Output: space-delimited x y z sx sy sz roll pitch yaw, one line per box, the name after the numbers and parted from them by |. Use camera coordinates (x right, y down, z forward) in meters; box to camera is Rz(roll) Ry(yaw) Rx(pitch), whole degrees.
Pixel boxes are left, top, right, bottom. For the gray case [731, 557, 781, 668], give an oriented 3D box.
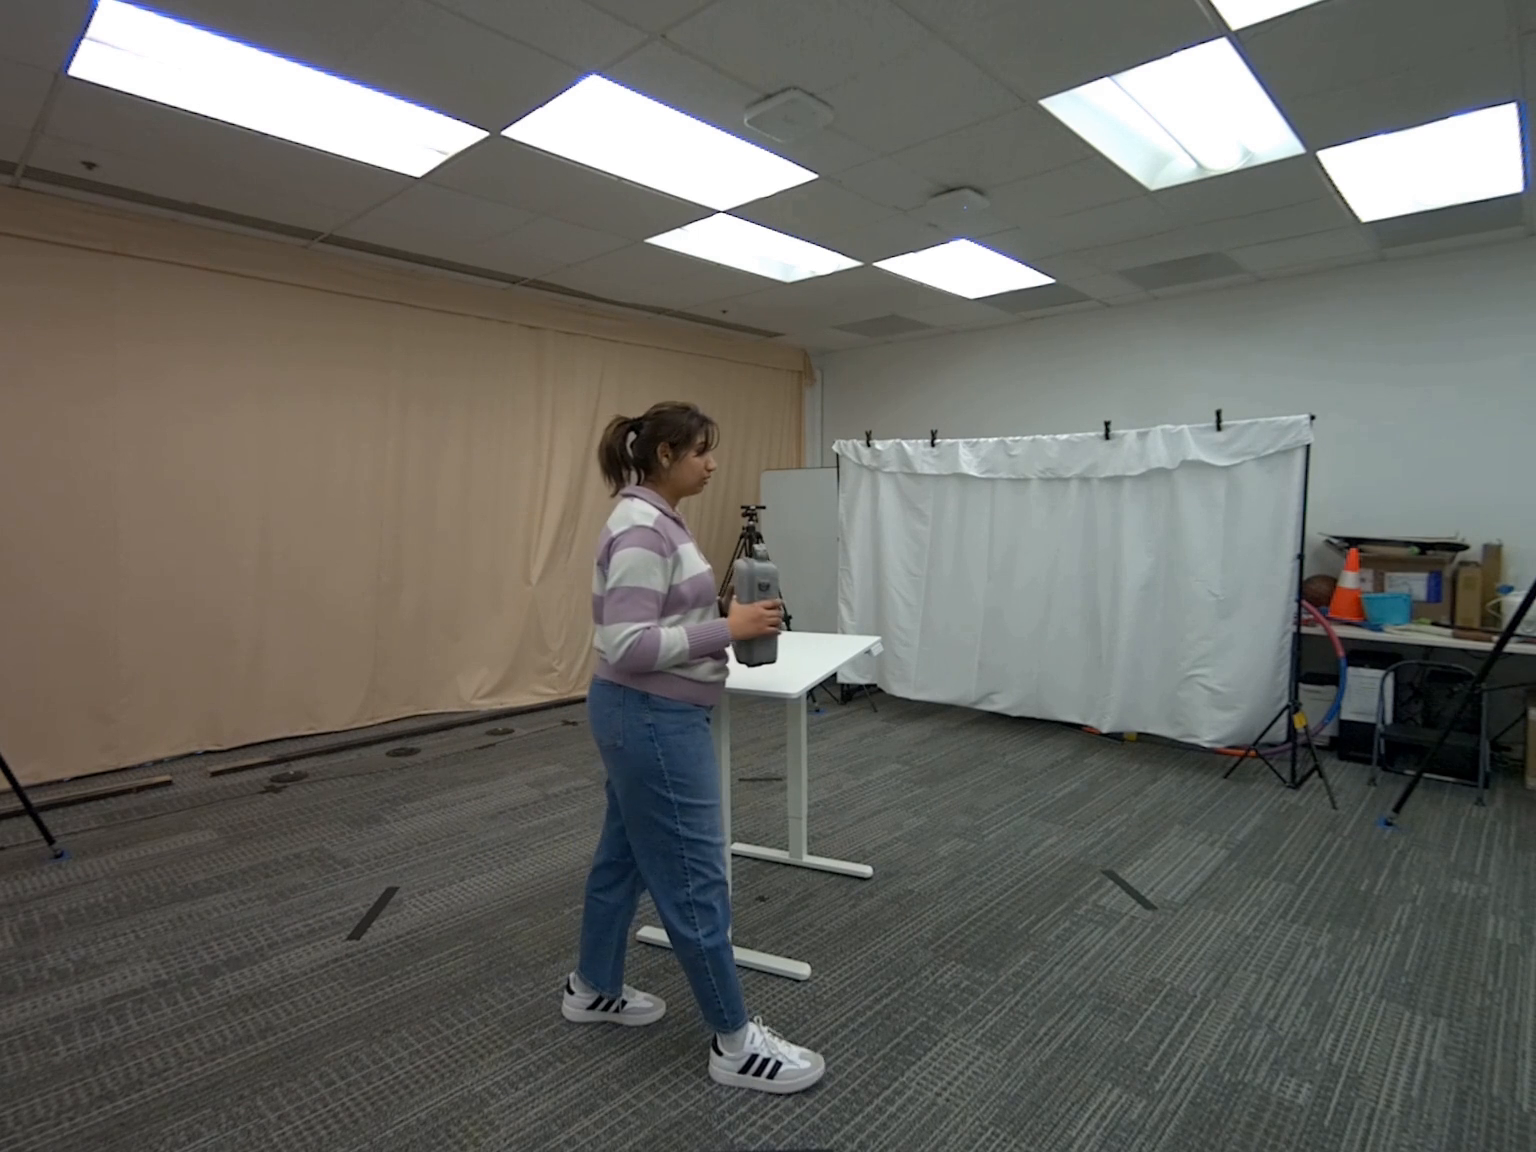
-0.029 0.082 2.130 0.104 0.260 0.259 4 4 -6 | gray case
